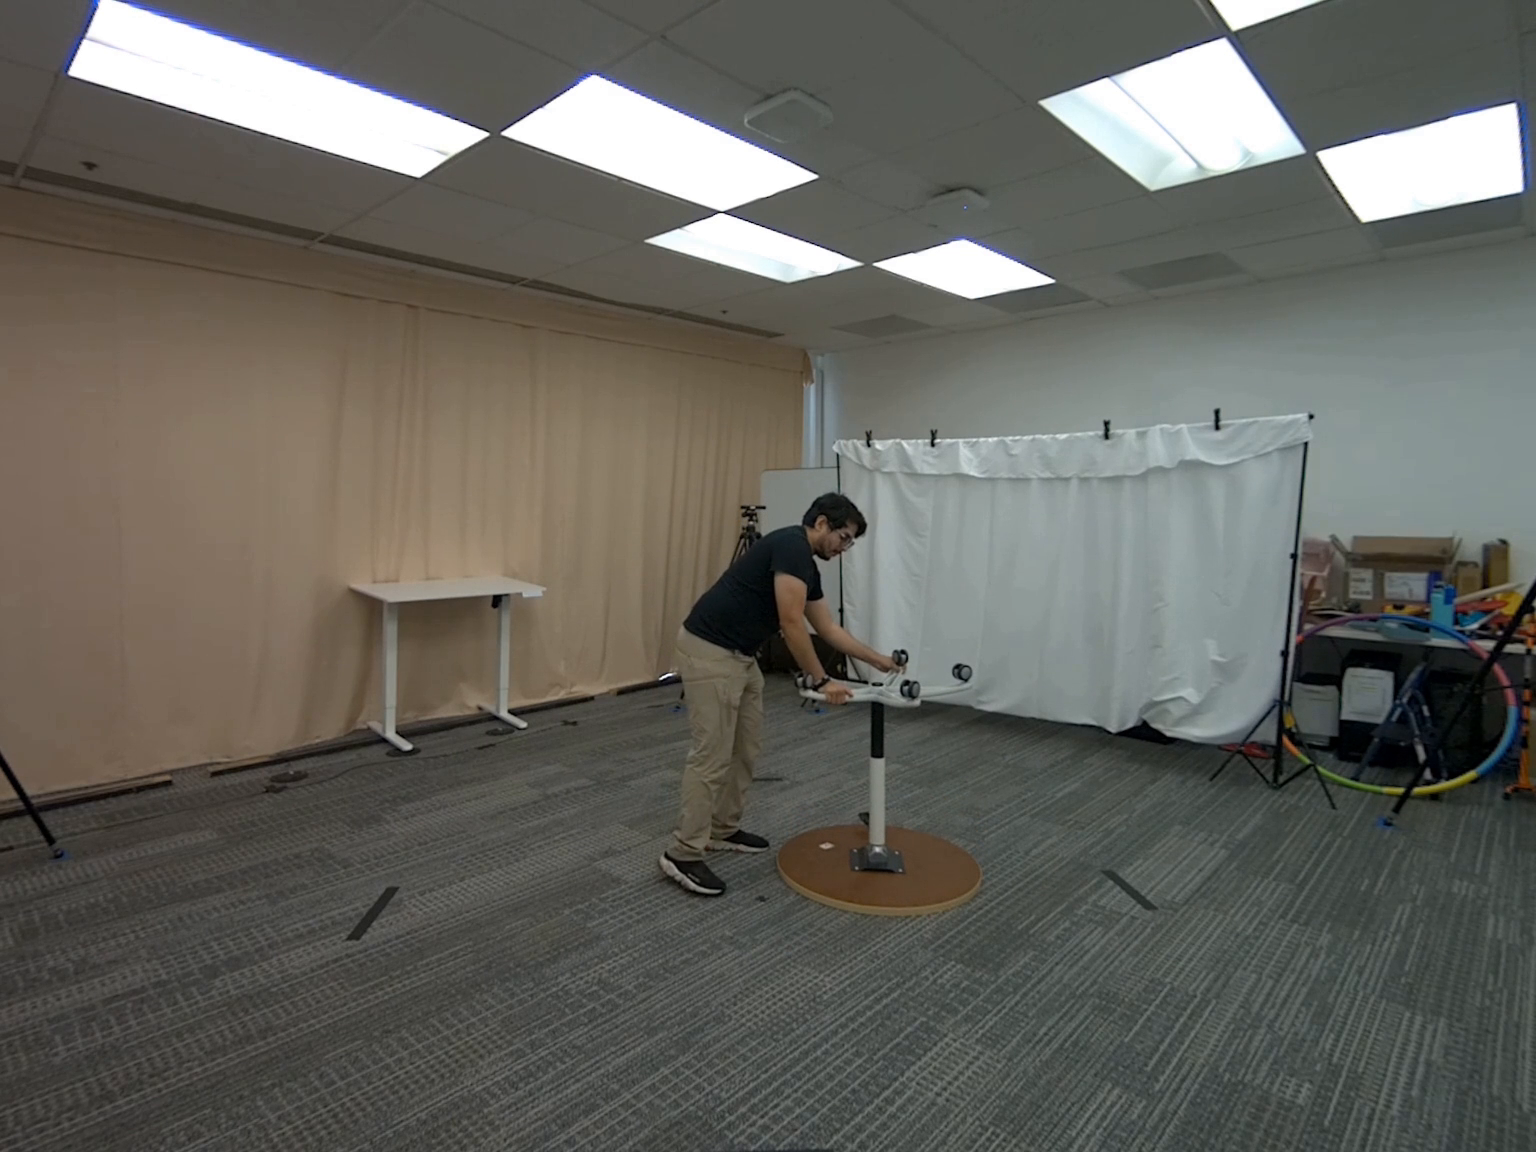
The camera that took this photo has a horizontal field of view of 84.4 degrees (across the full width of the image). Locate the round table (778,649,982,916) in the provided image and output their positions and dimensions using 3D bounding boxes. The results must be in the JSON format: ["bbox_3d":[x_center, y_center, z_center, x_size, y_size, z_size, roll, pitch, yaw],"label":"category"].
[{"bbox_3d":[0.429,0.724,3.204,0.784,0.784,0.788,0,4,-2],"label":"round table"}]
